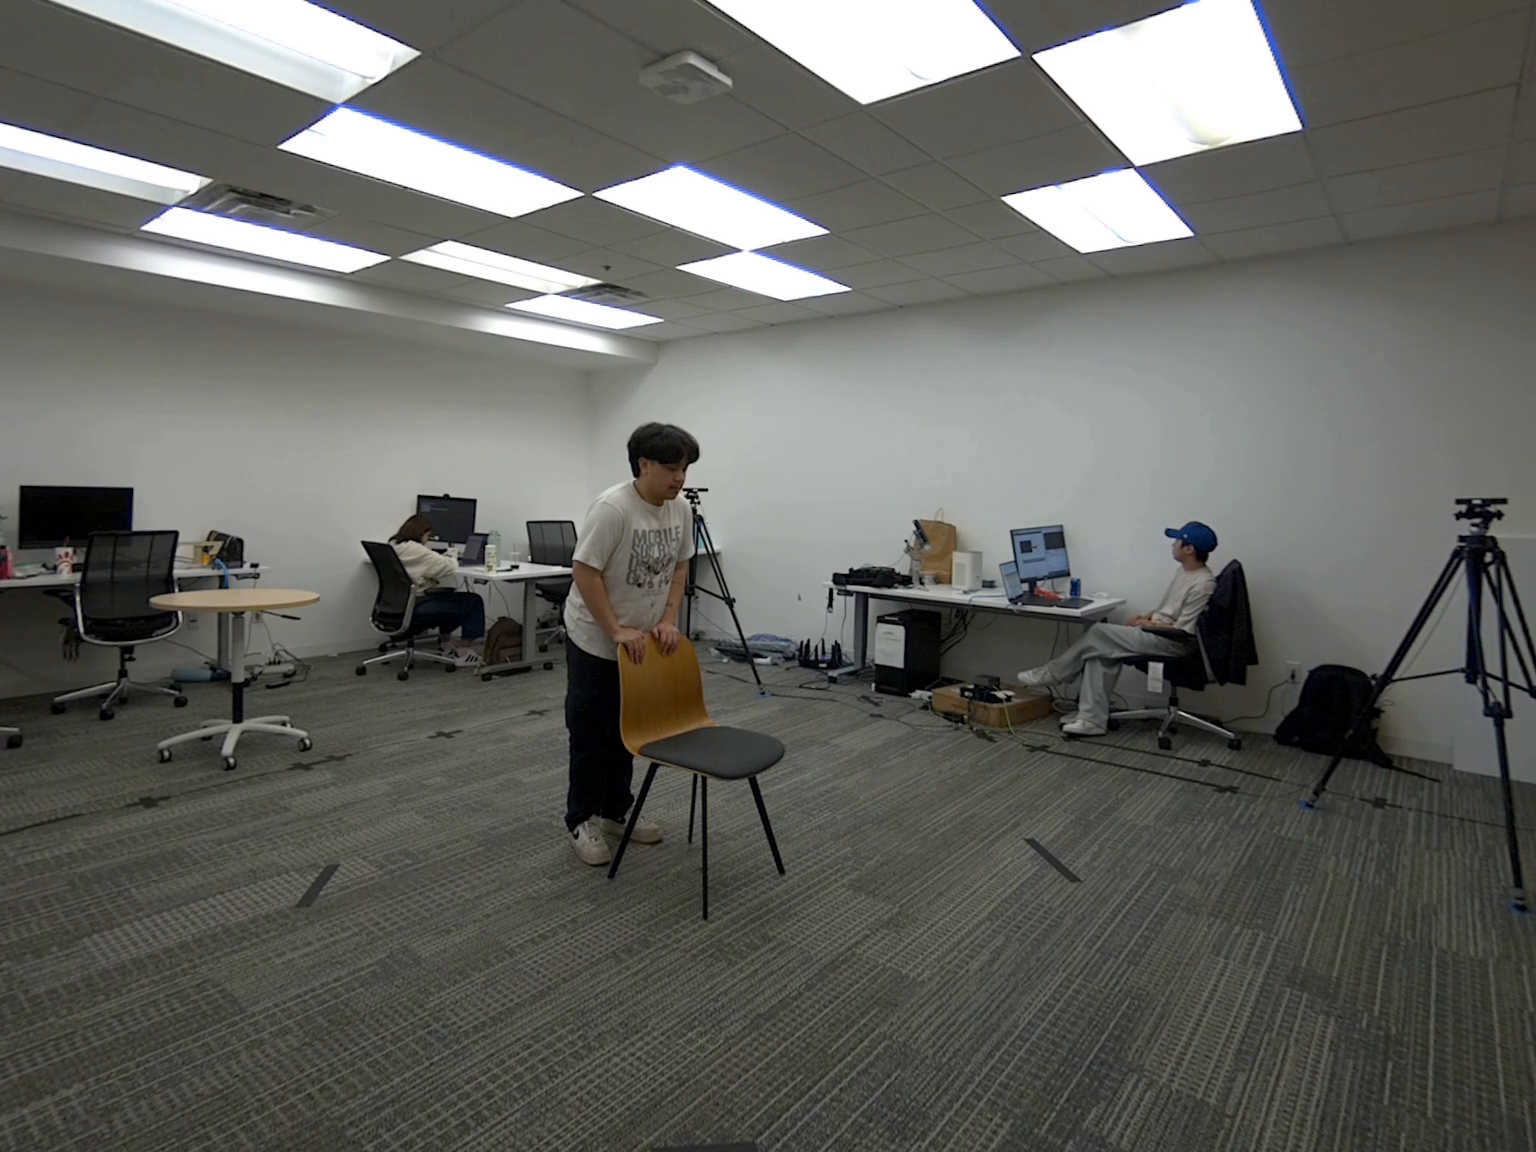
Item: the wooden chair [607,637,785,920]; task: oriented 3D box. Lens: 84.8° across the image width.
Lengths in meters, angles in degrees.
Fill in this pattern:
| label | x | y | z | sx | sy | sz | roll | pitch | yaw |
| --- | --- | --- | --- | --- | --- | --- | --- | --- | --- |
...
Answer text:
| label | x | y | z | sx | sy | sz | roll | pitch | yaw |
| --- | --- | --- | --- | --- | --- | --- | --- | --- | --- |
| wooden chair | -0.245 | 0.653 | 3.018 | 0.539 | 0.878 | 0.464 | -2 | 0 | 37 |
